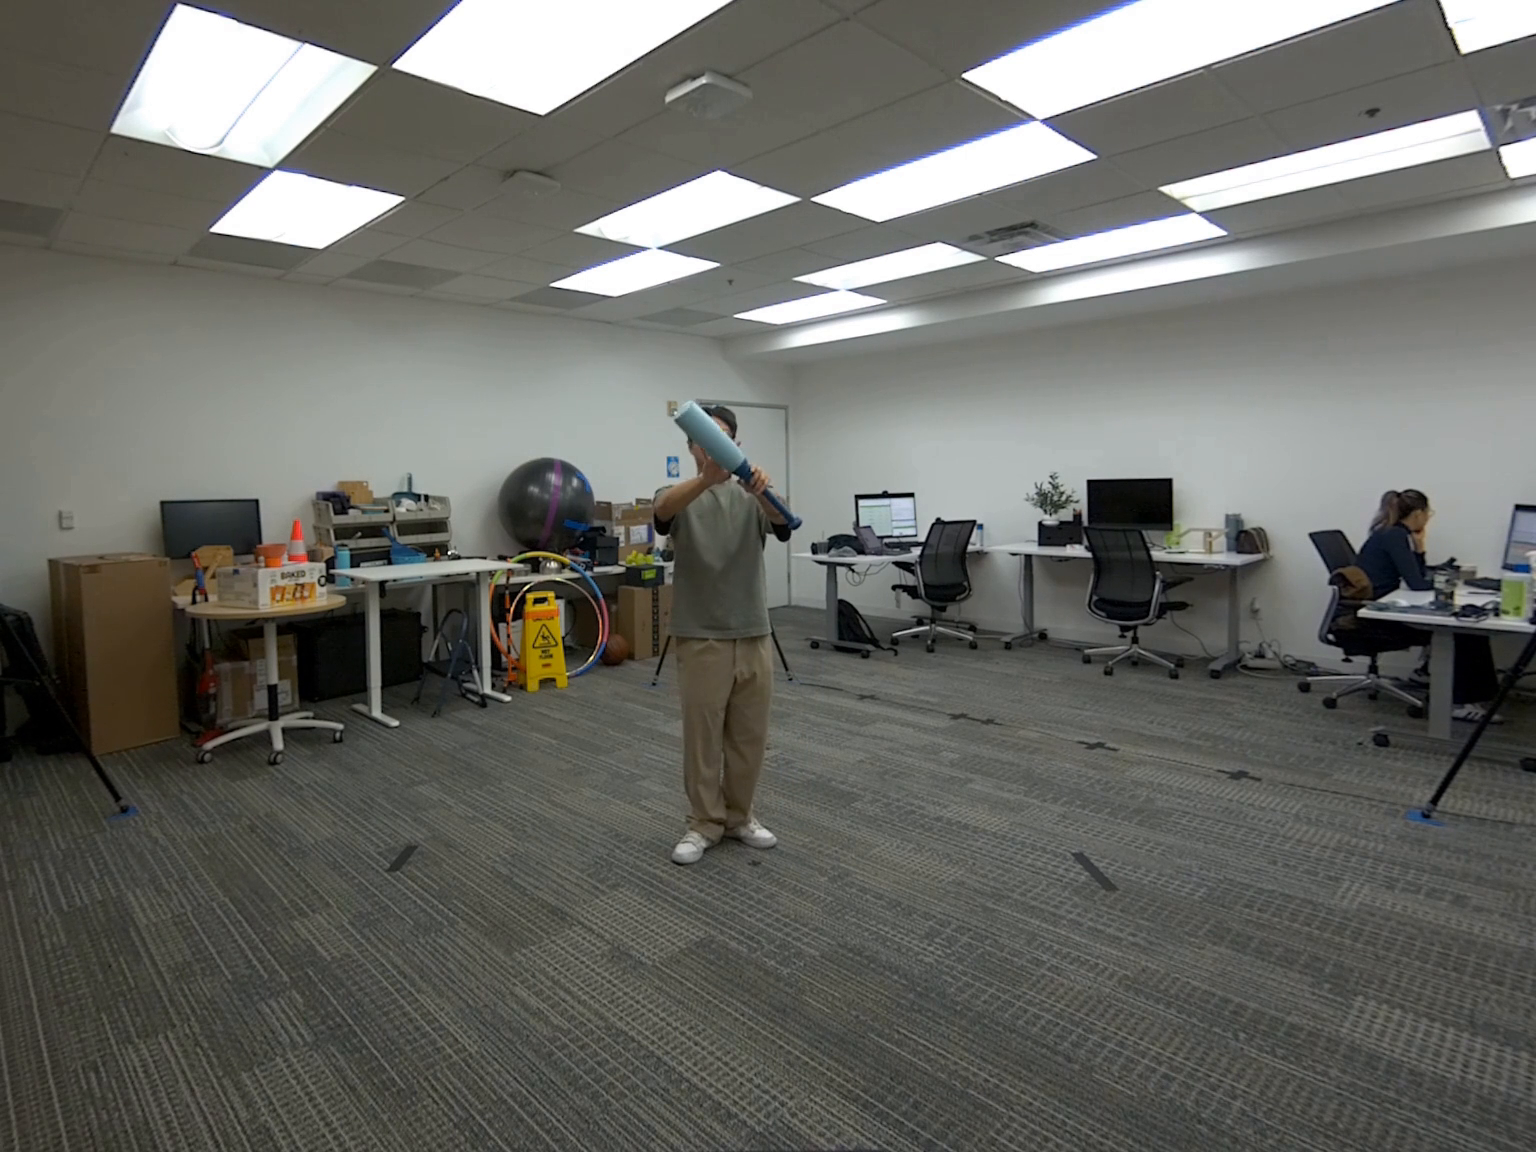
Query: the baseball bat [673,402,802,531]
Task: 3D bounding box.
[{"bbox_3d":[-0.085,-0.332,2.689,0.530,0.089,0.091,44,-13,-18],"label":"baseball bat"}]
